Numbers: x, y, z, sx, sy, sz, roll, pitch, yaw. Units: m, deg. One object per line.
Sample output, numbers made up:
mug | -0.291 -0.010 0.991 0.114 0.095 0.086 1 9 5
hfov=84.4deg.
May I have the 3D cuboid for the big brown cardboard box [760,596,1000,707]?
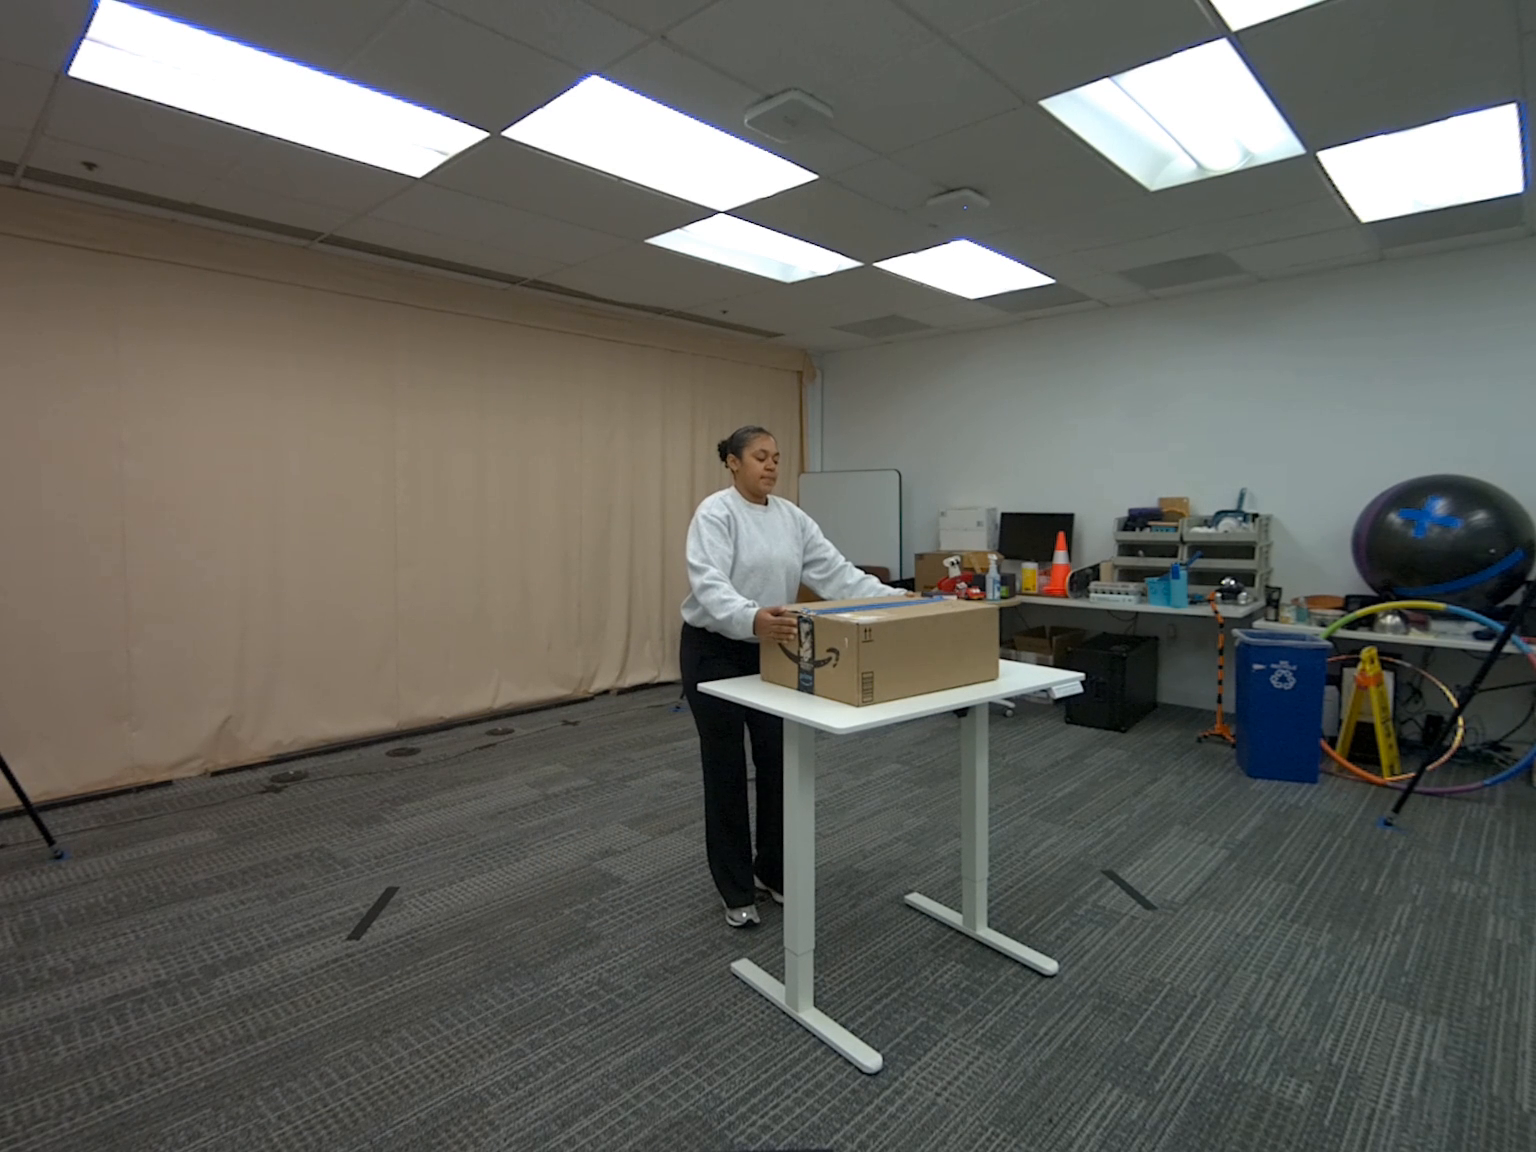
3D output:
big brown cardboard box | 0.331 0.197 2.442 0.572 0.233 0.431 -2 4 -36
